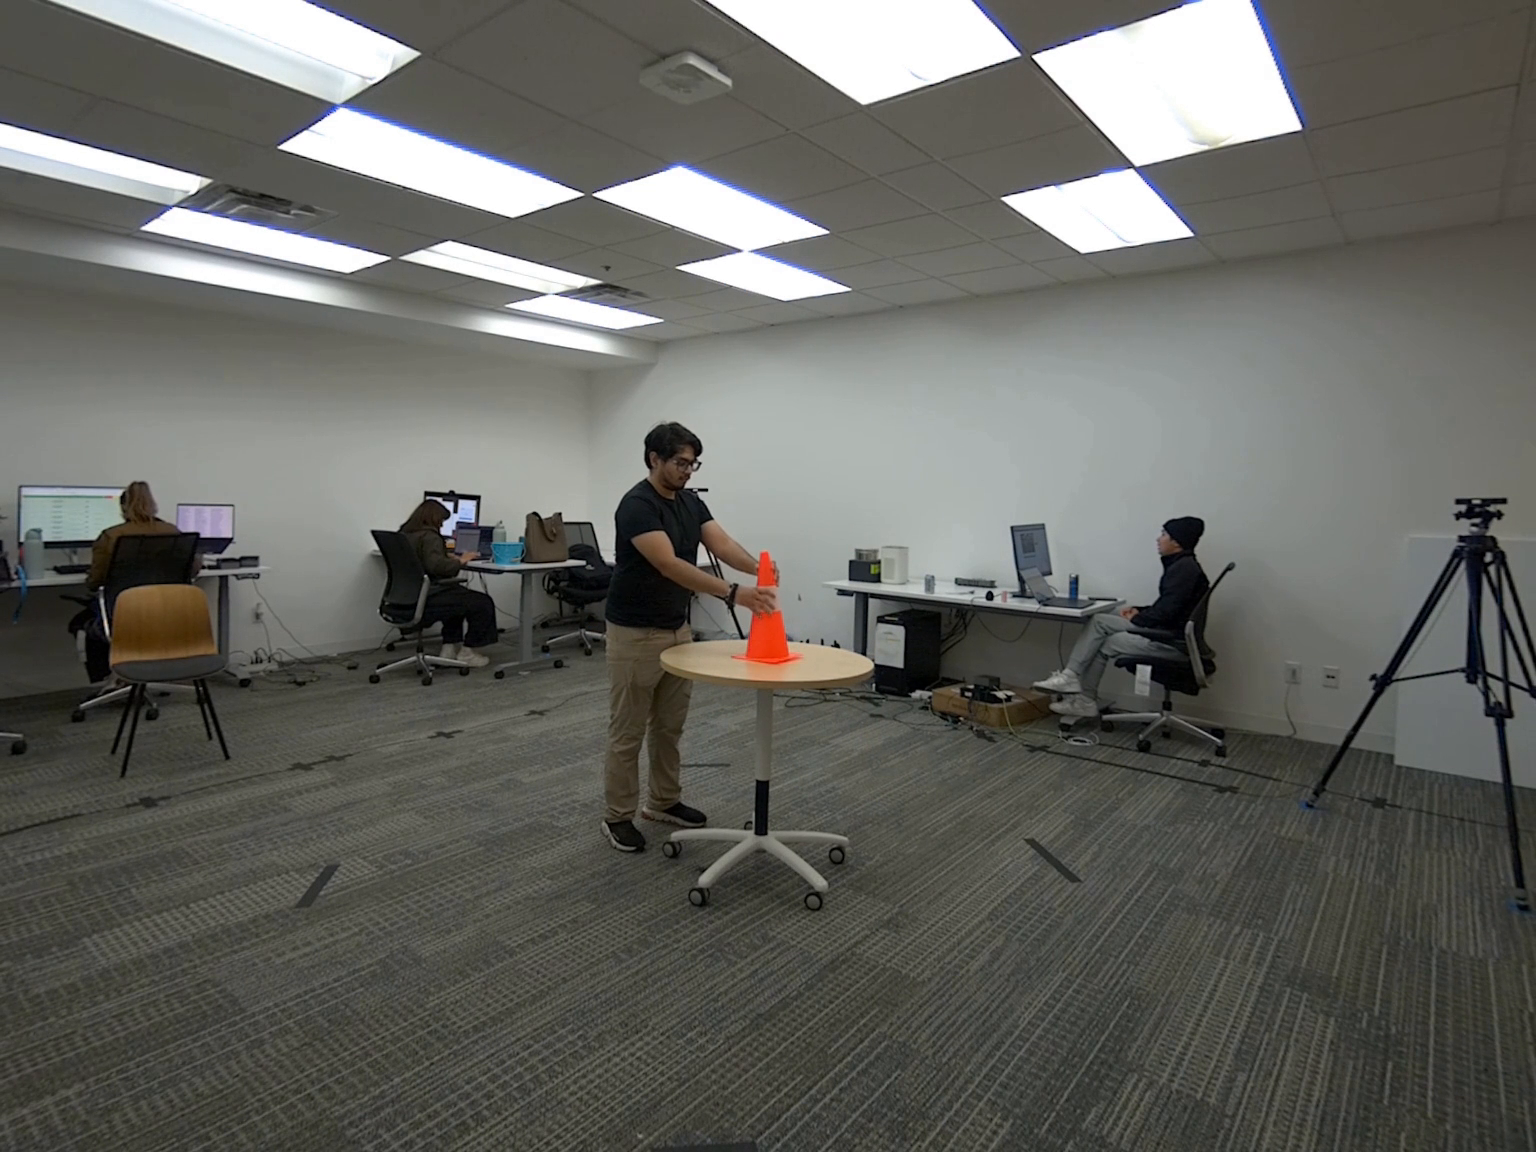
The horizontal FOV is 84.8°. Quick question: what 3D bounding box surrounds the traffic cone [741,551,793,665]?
[{"bbox_3d":[-0.009,0.102,3.076,0.211,0.383,0.198,1,4,29],"label":"traffic cone"}]
